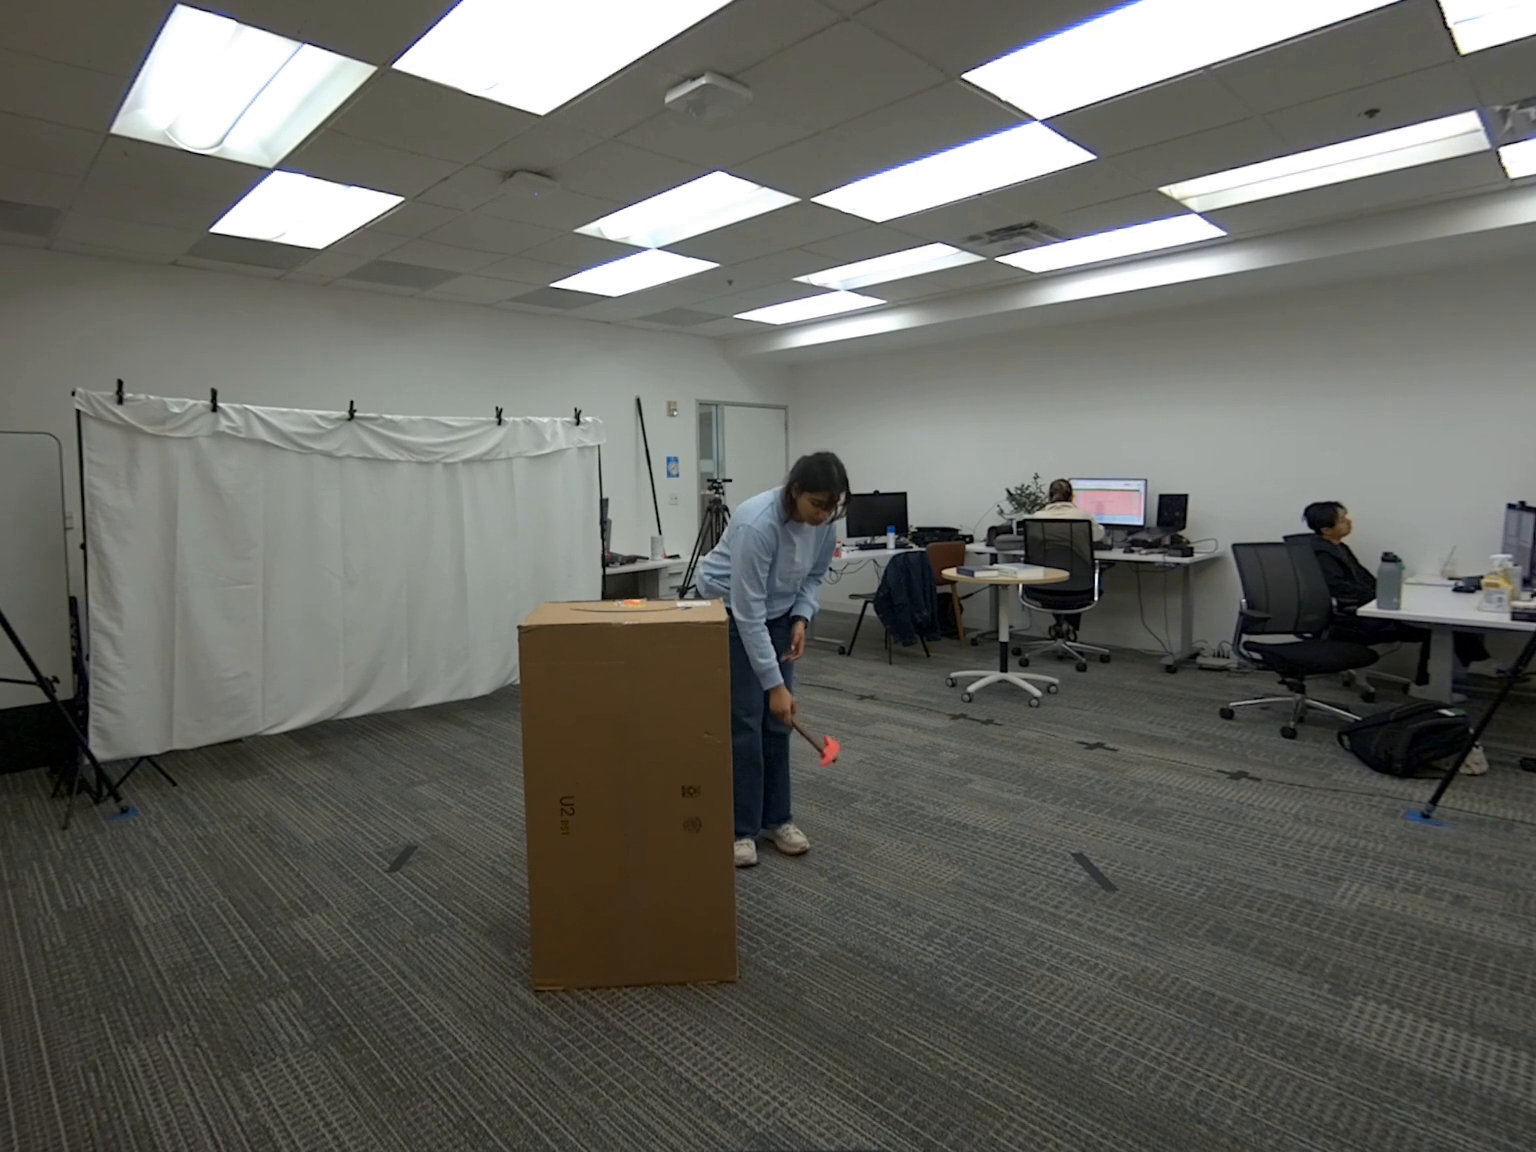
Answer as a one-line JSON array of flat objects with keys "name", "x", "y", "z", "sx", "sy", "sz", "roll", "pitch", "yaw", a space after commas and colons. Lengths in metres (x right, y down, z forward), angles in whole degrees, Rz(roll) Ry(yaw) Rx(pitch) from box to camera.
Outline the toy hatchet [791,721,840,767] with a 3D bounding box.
[{"name": "toy hatchet", "x": 0.148, "y": 0.518, "z": 2.905, "sx": 0.128, "sy": 0.029, "sz": 0.280, "roll": -13, "pitch": 50, "yaw": -35}]
